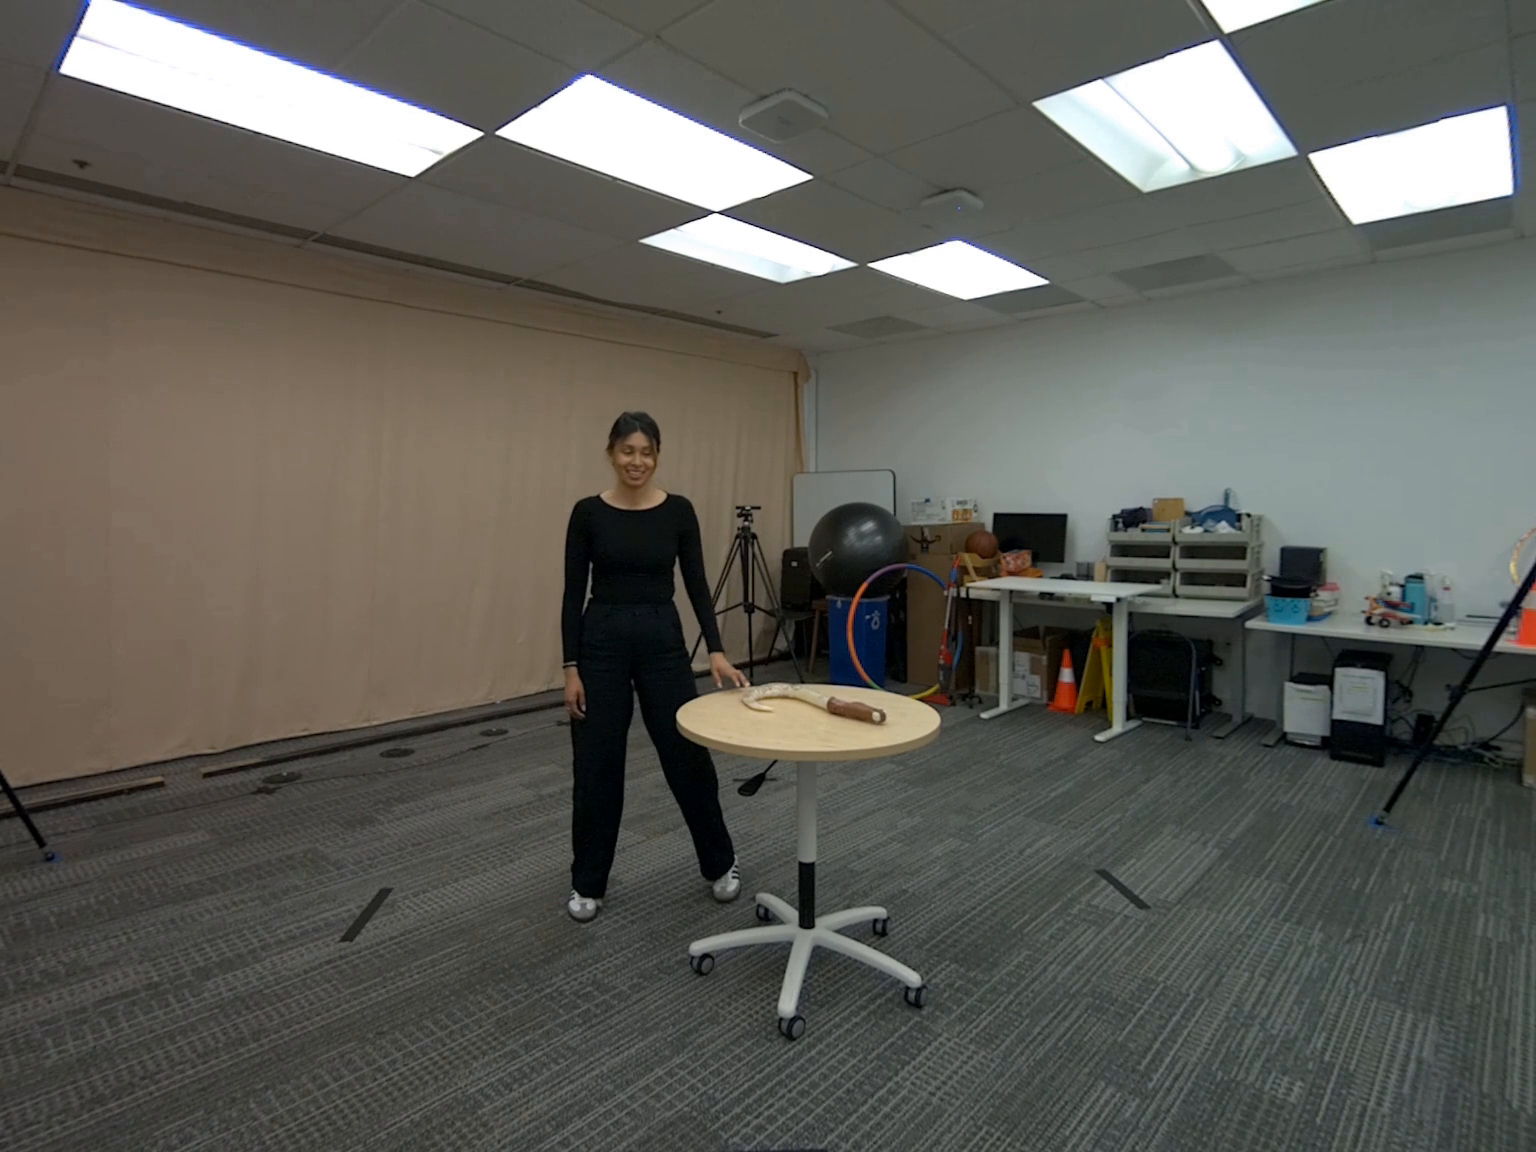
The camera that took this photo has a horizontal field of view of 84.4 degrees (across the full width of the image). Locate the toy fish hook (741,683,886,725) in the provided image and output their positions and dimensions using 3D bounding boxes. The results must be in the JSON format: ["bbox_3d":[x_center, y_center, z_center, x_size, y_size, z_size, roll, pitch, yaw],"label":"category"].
[{"bbox_3d":[0.121,0.388,2.482,0.218,0.048,0.523,-13,11,-39],"label":"toy fish hook"}]
